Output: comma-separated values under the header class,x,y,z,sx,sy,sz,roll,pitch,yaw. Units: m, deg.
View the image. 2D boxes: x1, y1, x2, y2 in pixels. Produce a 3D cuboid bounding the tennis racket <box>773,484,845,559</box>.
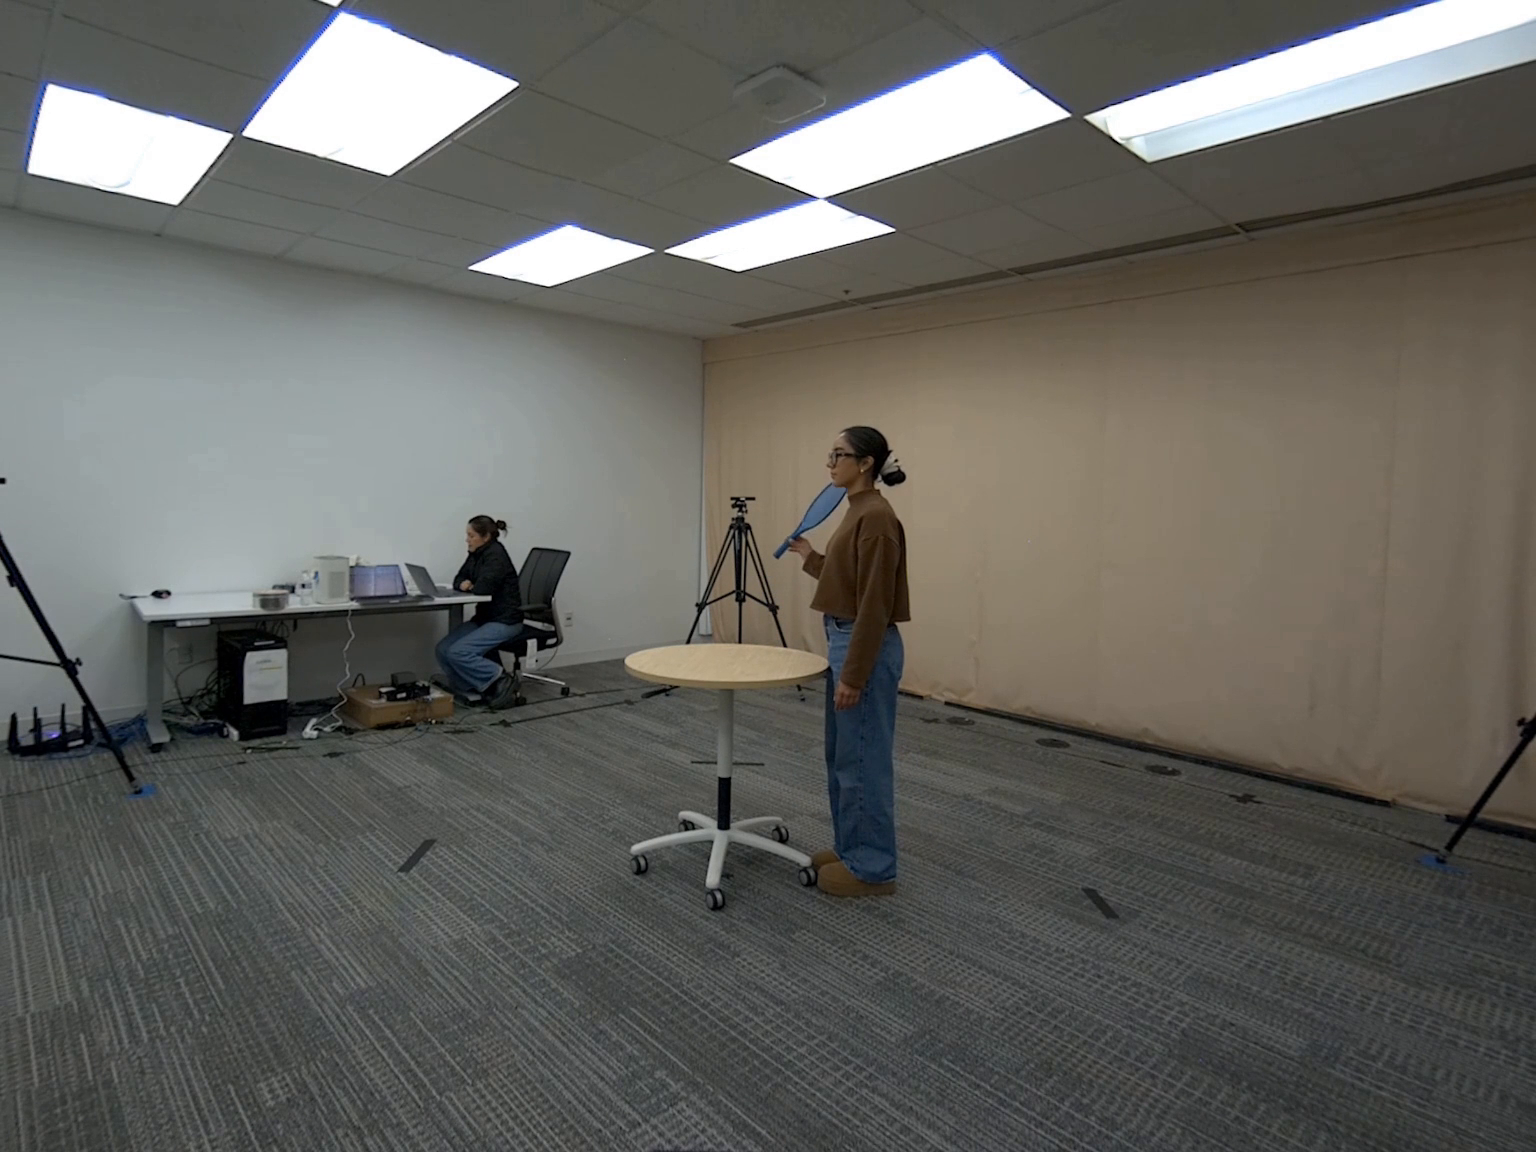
class,x,y,z,sx,sy,sz,roll,pitch,yaw
tennis racket,0.164,-0.220,3.289,0.031,0.433,0.218,35,18,-21
